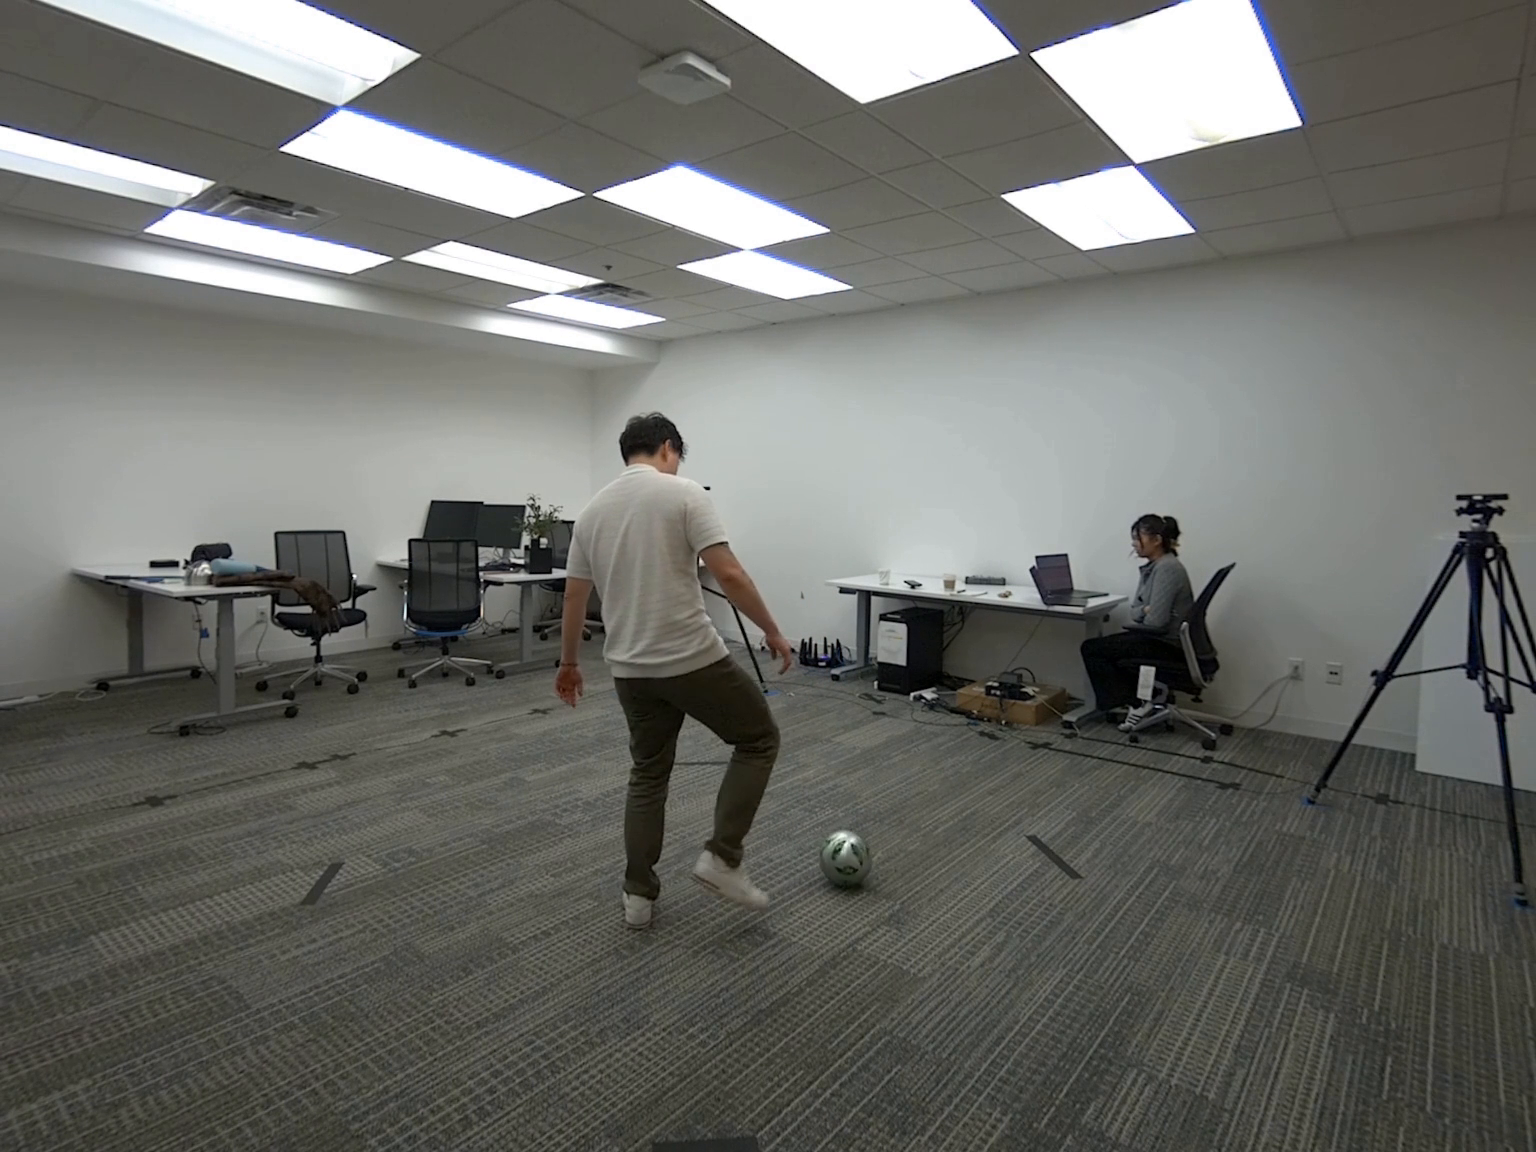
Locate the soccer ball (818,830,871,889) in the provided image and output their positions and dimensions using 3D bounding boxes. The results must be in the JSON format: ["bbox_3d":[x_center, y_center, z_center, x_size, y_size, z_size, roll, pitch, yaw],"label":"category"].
[{"bbox_3d":[0.265,0.996,2.994,0.187,0.187,0.188,1,4,-2],"label":"soccer ball"}]
